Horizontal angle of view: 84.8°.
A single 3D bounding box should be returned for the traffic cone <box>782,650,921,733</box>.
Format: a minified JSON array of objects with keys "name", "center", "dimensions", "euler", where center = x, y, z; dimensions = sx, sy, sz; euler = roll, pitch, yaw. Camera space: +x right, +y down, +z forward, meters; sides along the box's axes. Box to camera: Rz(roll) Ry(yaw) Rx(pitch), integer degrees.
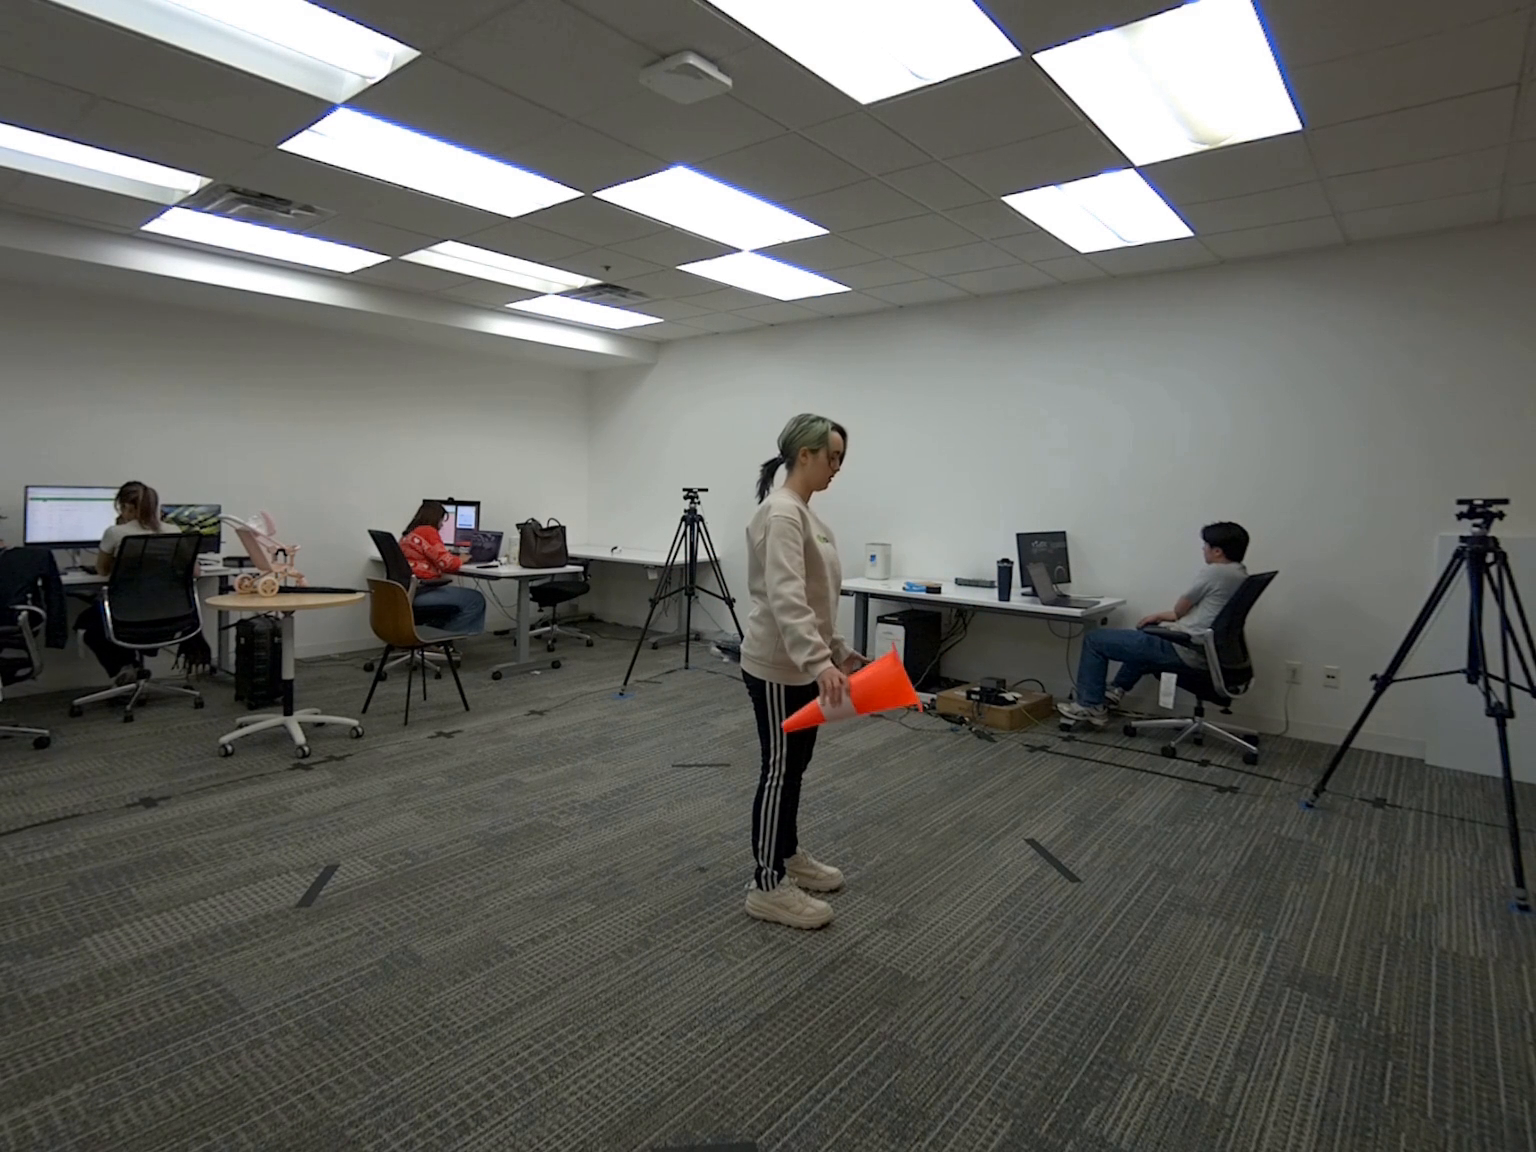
[{"name":"traffic cone","center":[0.206,0.346,2.394],"dimensions":[0.385,0.206,0.202],"euler":[-21,-3,4]}]
